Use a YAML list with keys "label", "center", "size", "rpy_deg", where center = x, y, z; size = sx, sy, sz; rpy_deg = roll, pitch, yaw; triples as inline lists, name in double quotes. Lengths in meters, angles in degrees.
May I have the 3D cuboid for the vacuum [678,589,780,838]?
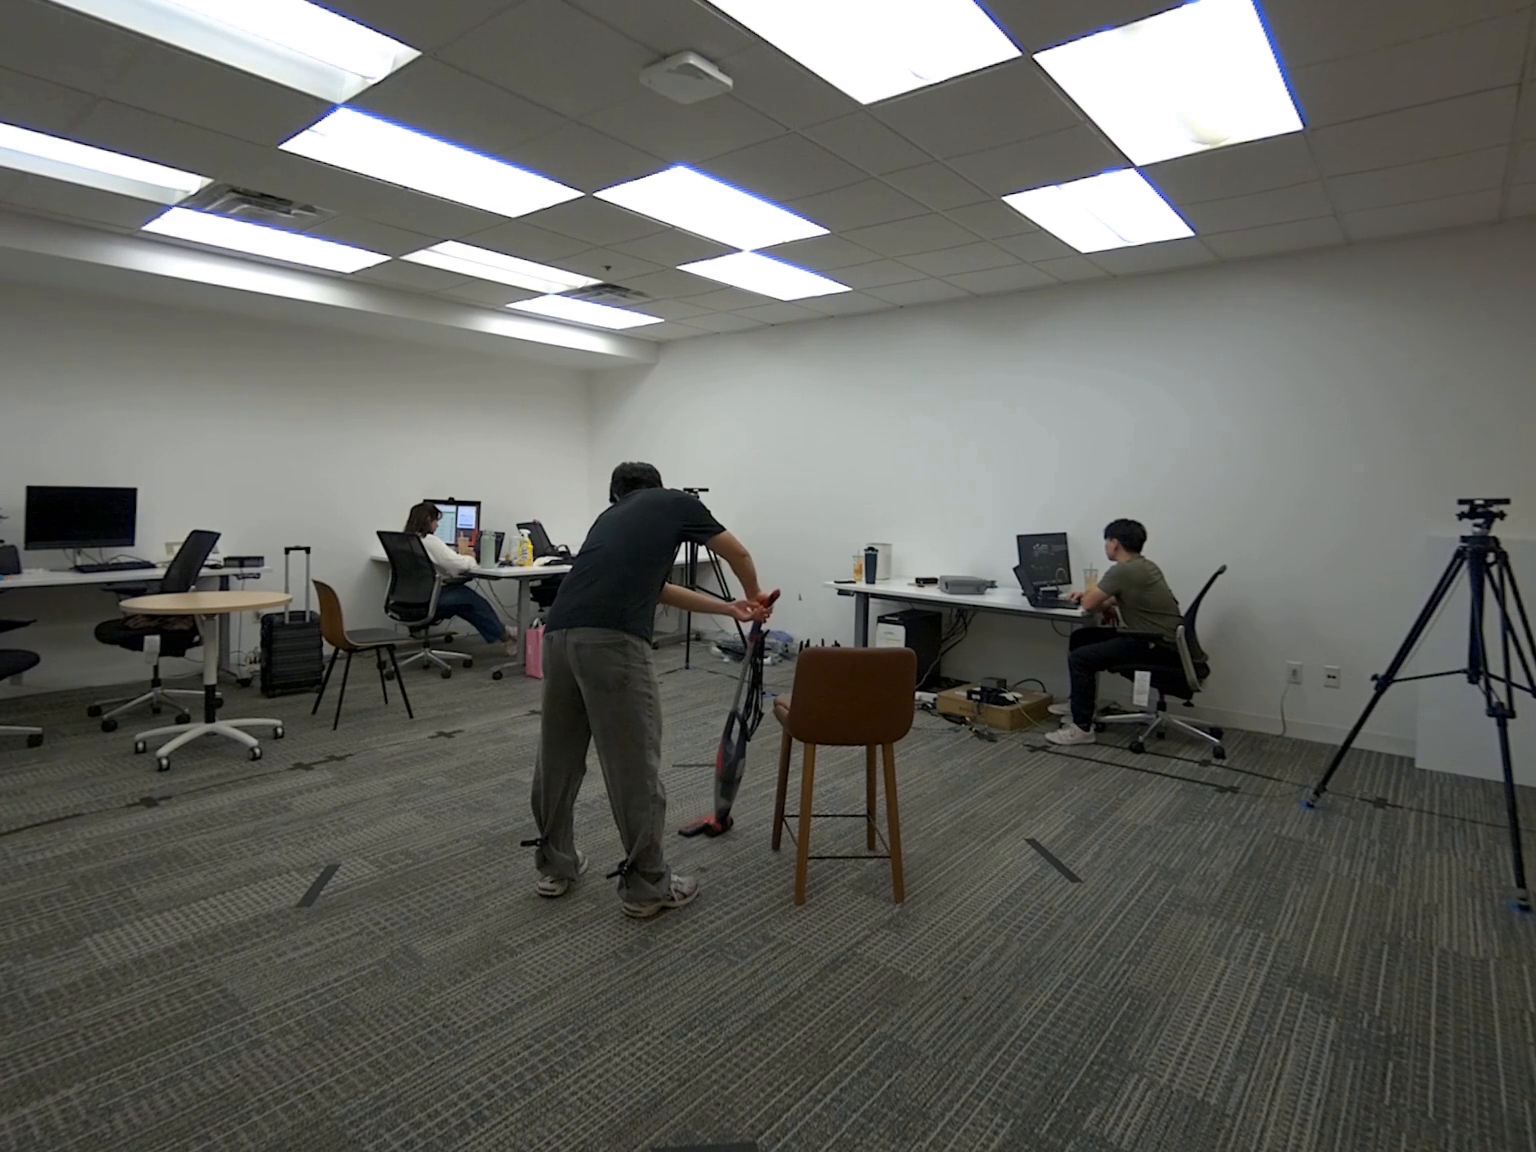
- label: "vacuum"
  center: [-0.115, 0.550, 3.362]
  size: [0.149, 1.041, 0.245]
  rpy_deg: [25, 15, 31]
